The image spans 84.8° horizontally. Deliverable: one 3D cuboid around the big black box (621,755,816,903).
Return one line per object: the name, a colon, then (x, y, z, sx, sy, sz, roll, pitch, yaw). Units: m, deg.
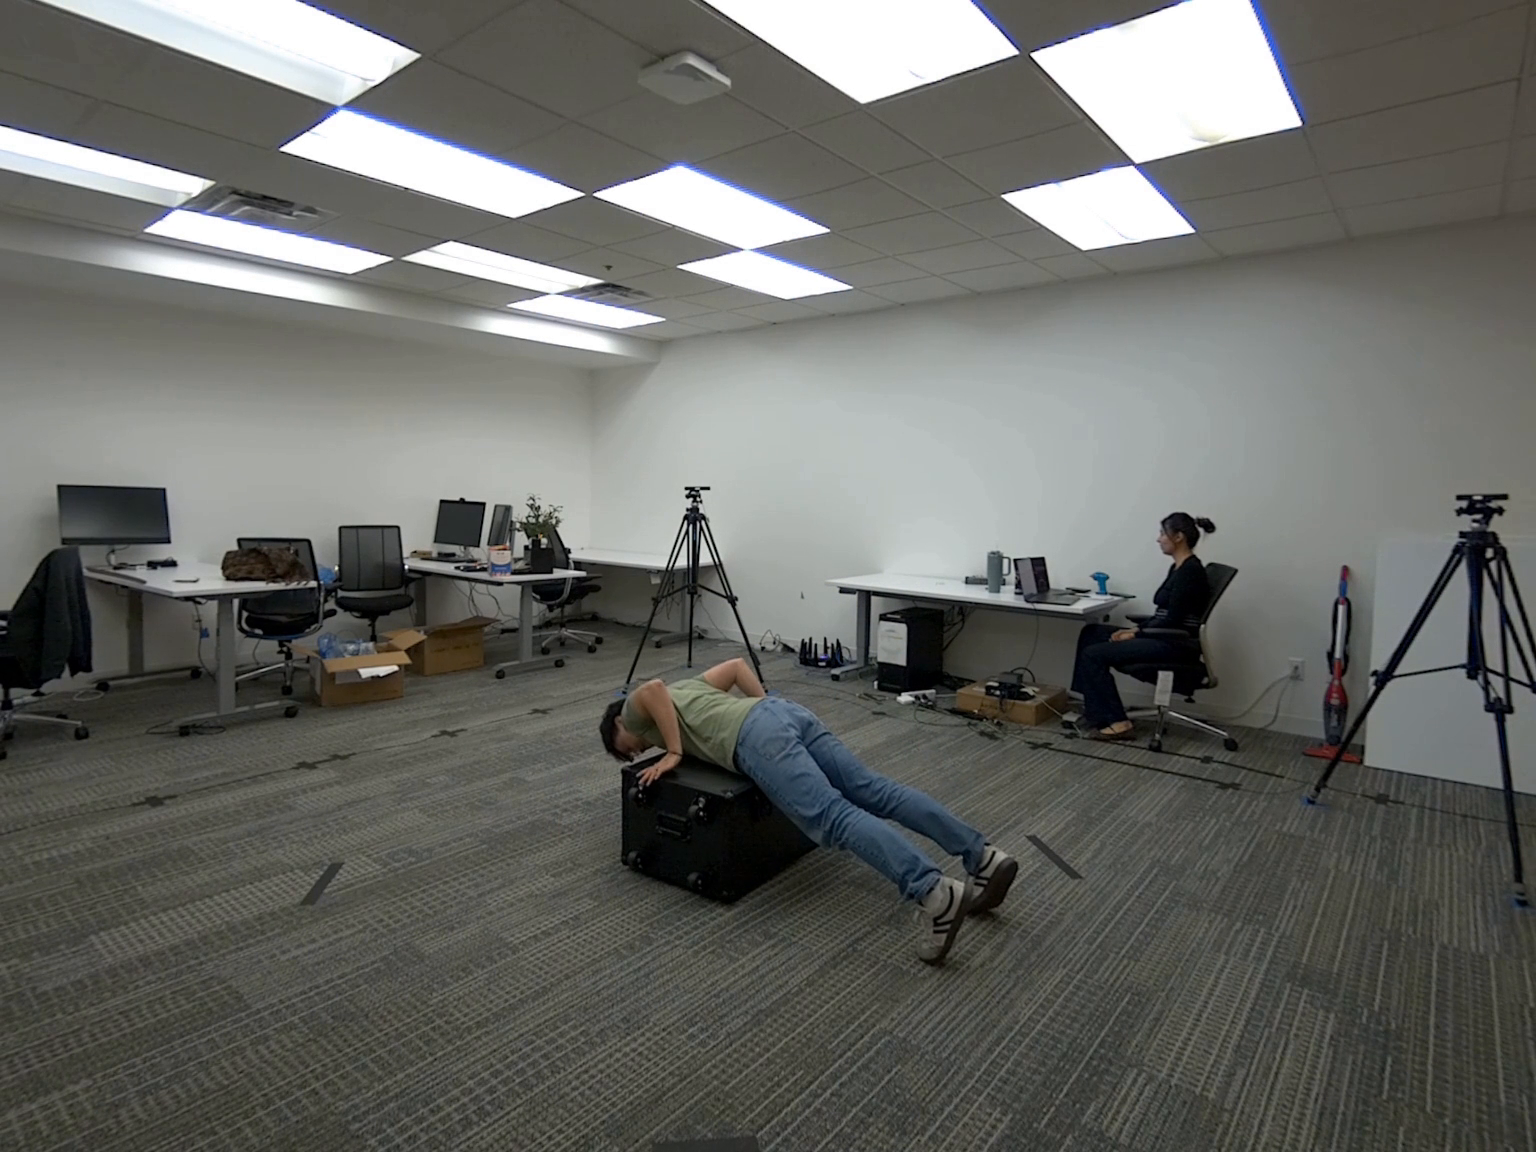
big black box: (-0.153, 0.870, 3.223, 0.538, 0.395, 0.837, 4, 4, 33)
